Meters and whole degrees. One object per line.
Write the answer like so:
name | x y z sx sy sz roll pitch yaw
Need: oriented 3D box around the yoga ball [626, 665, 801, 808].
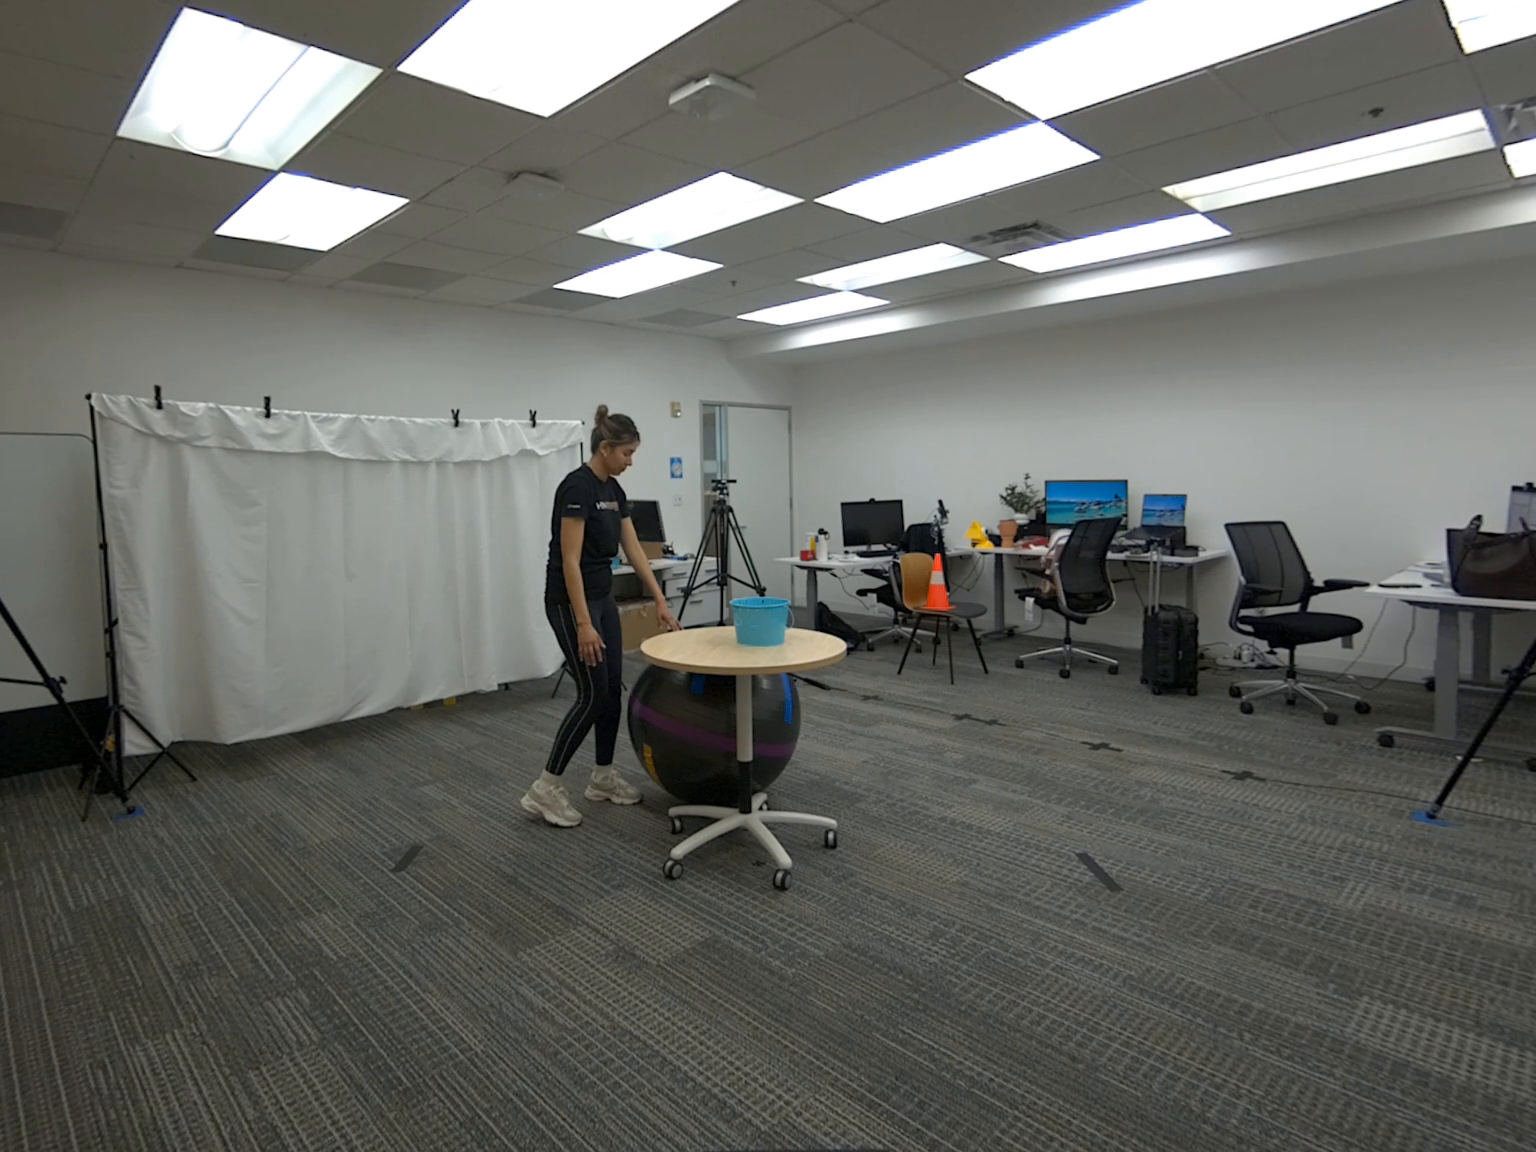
yoga ball | -0.230 0.617 3.745 0.757 0.755 0.762 -1 5 -2
